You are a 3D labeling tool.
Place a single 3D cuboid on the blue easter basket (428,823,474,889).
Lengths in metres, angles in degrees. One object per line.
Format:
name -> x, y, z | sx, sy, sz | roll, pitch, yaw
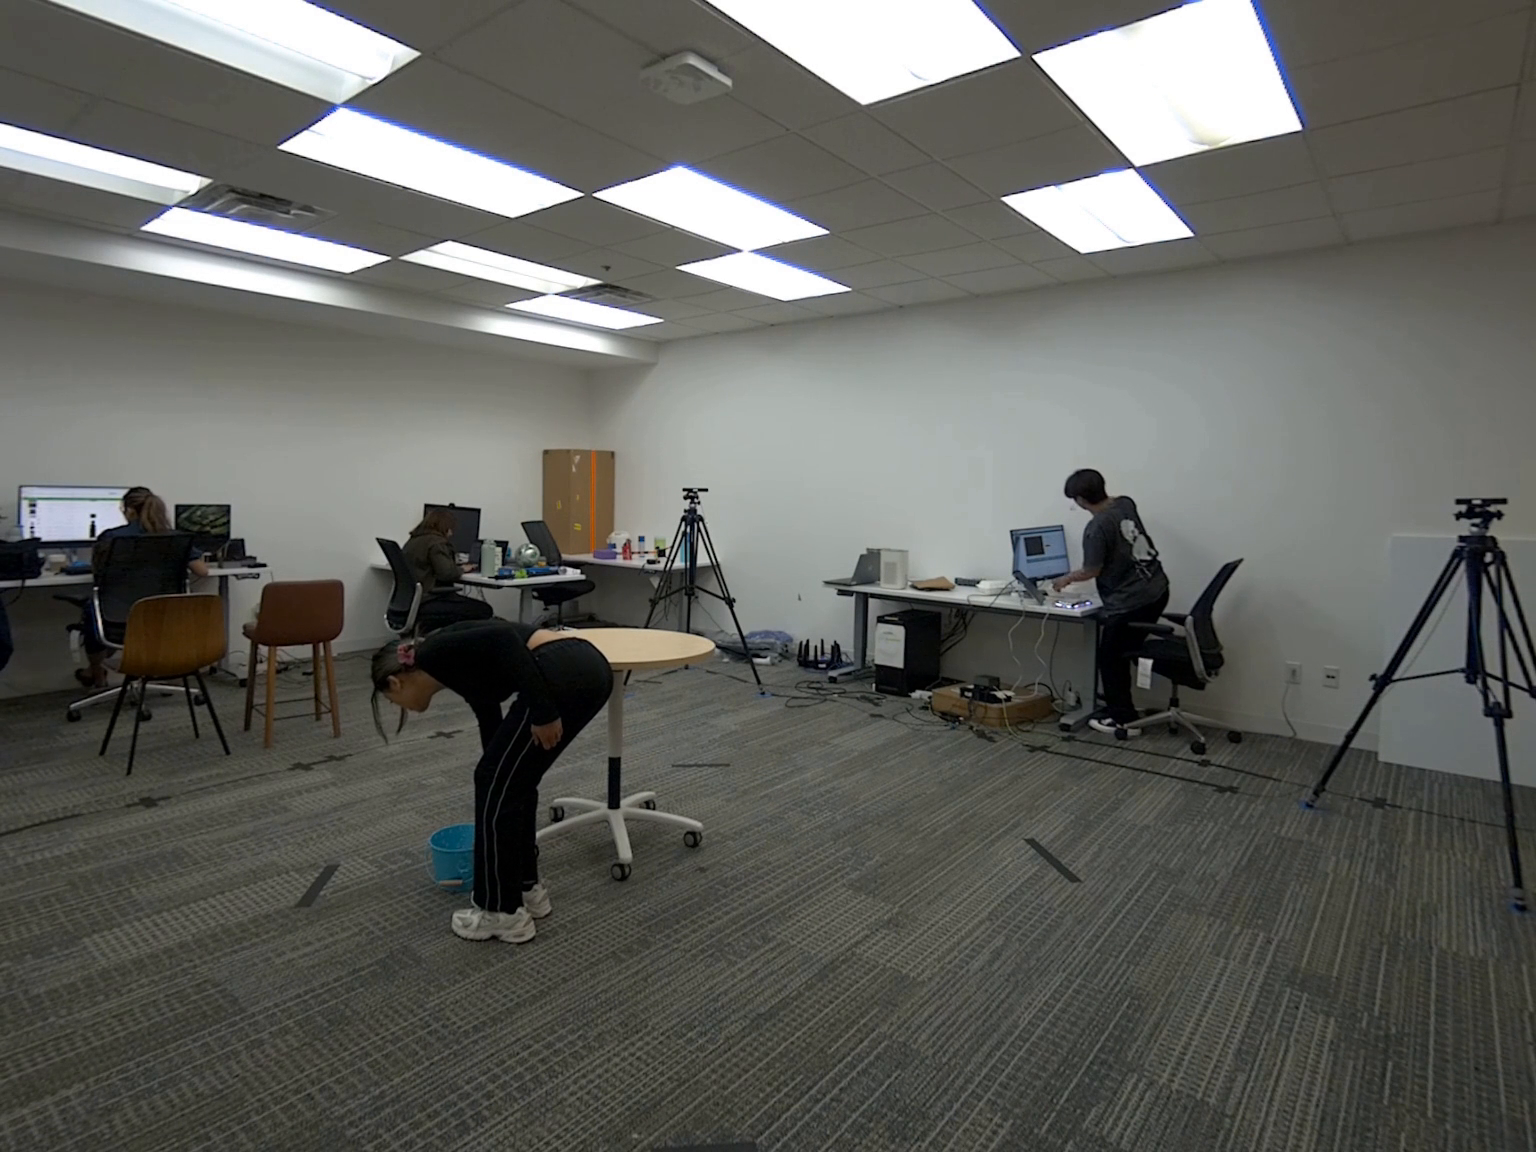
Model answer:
blue easter basket -> -1.091, 0.992, 2.993 | 0.243, 0.155, 0.245 | 1, 4, -2
